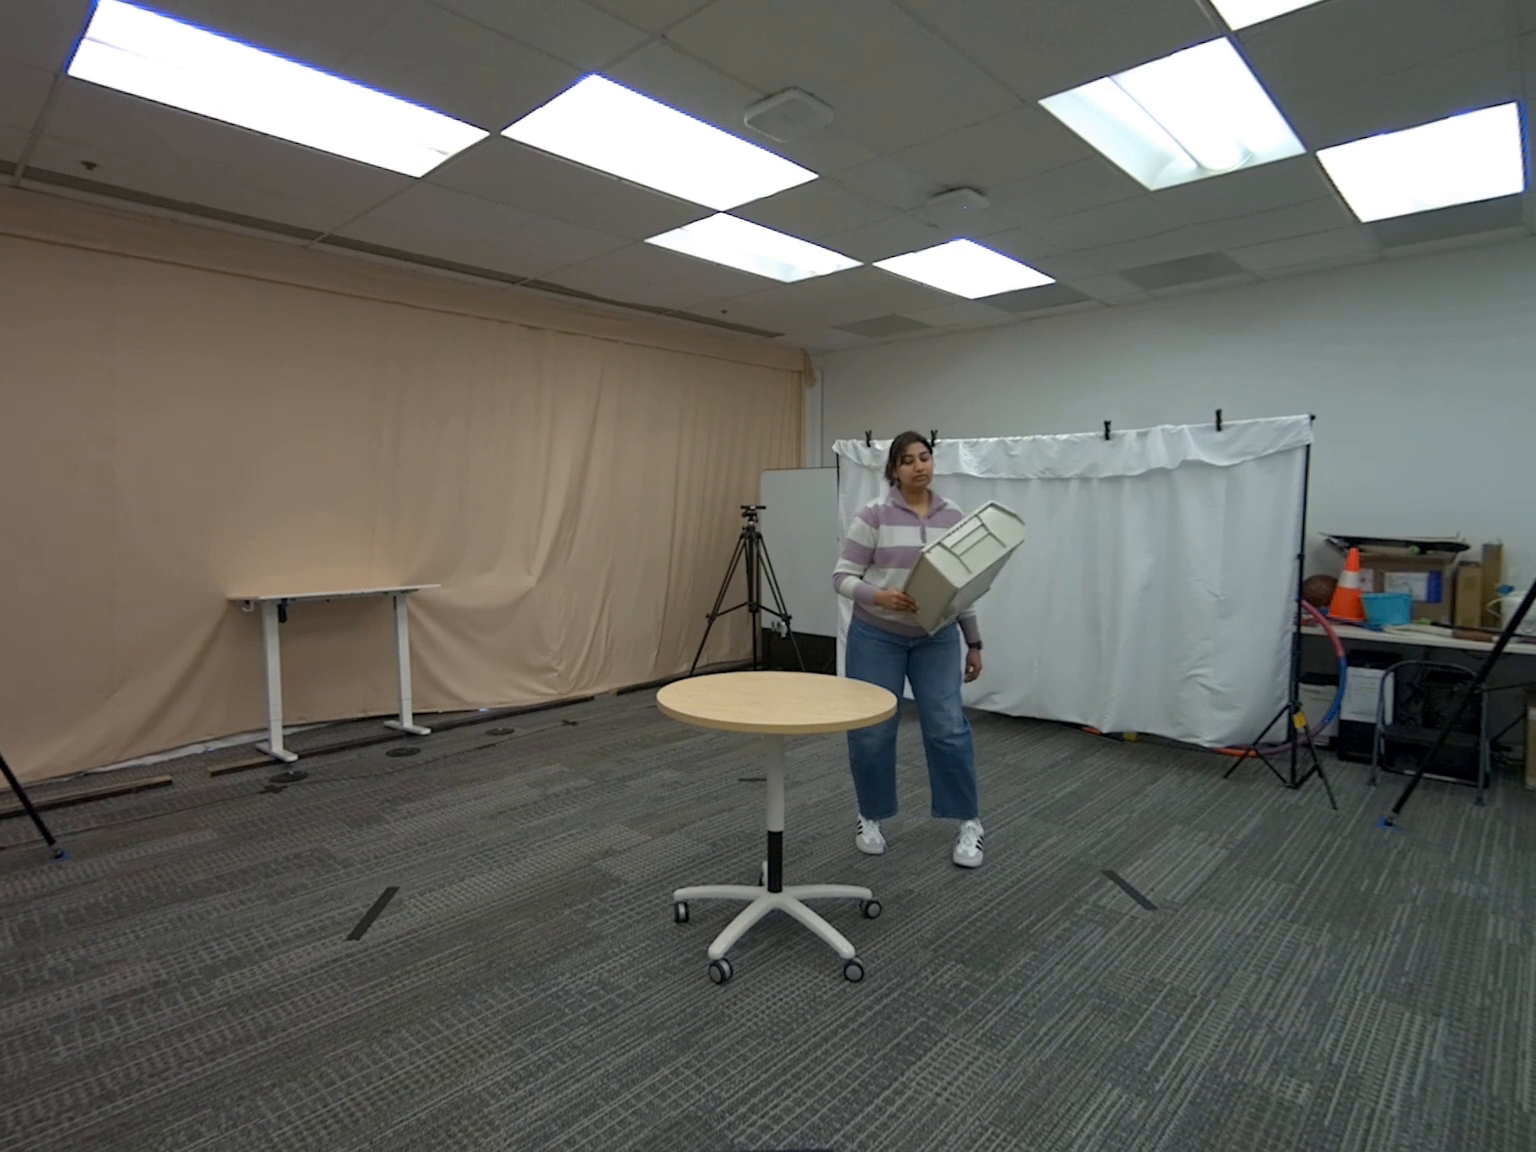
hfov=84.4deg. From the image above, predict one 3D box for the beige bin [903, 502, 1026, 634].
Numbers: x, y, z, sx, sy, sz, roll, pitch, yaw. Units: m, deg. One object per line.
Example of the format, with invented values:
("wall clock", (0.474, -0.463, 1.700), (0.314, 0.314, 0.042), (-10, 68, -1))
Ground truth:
("beige bin", (0.689, -0.019, 3.016), (0.373, 0.193, 0.418), (-35, -18, -19))
